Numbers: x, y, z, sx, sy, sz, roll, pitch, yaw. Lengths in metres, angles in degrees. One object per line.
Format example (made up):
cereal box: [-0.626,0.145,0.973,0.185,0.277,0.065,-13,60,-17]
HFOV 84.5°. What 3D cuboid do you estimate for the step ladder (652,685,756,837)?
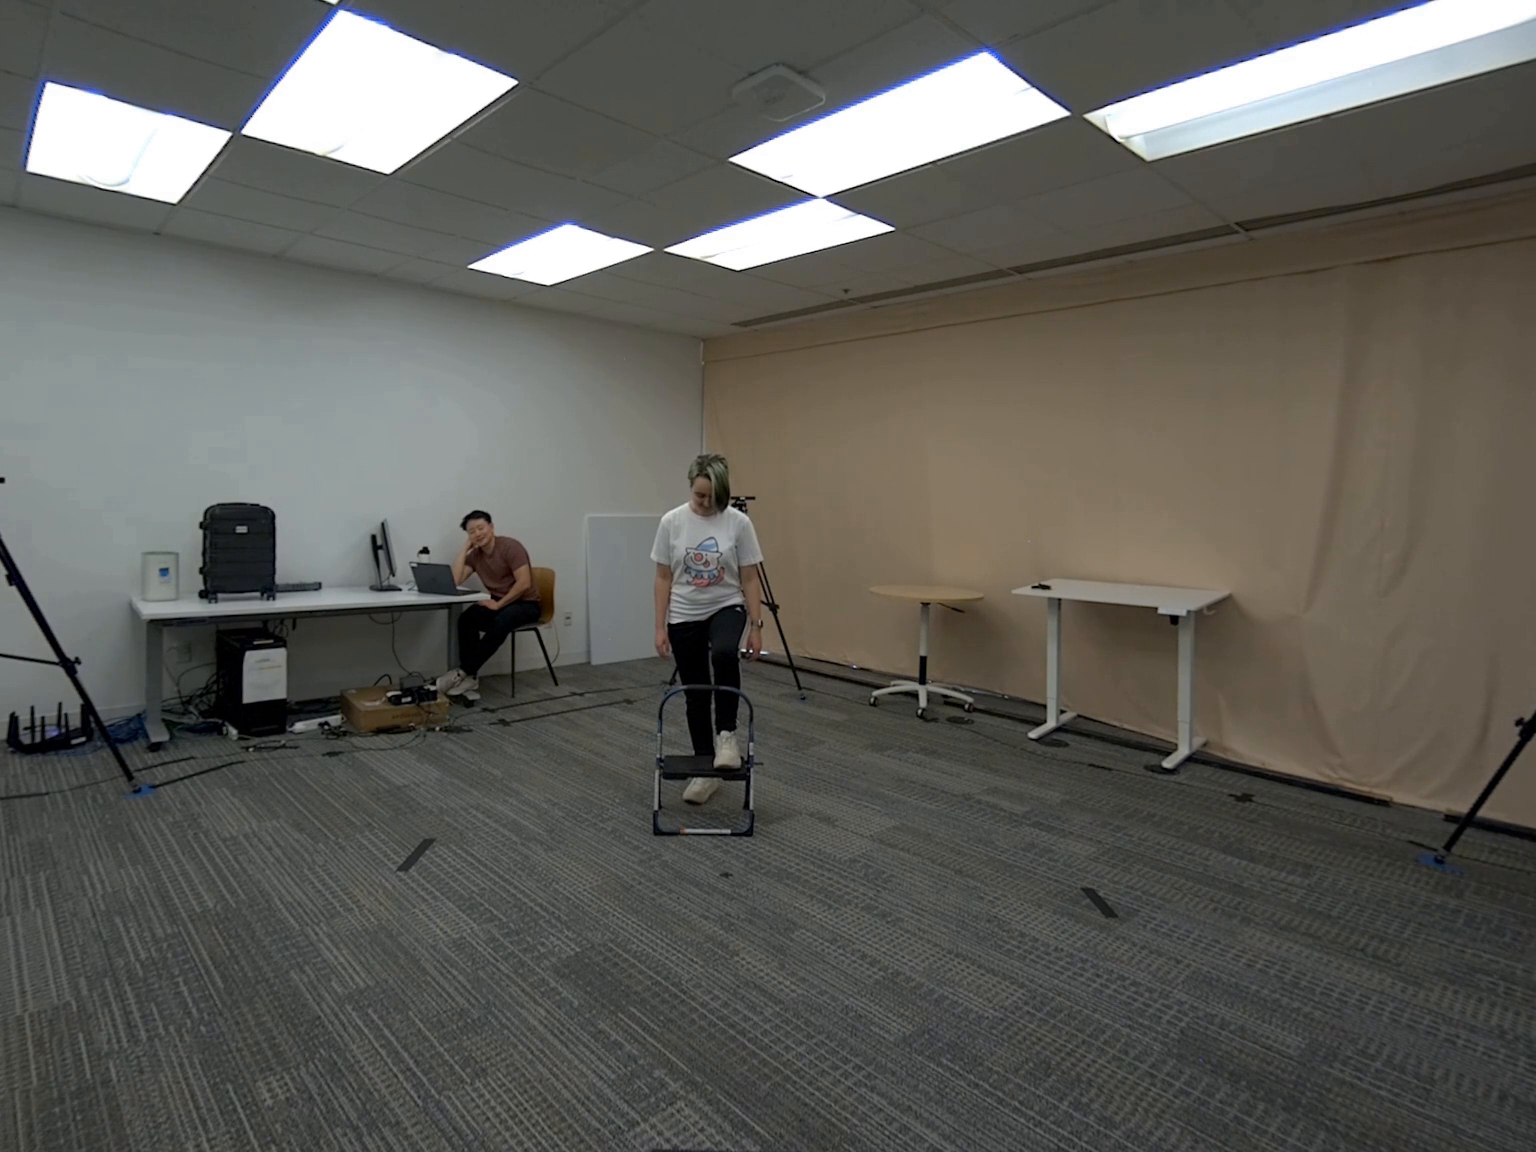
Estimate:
step ladder: [-0.285,0.762,3.616,0.429,0.605,0.351,1,3,-4]
